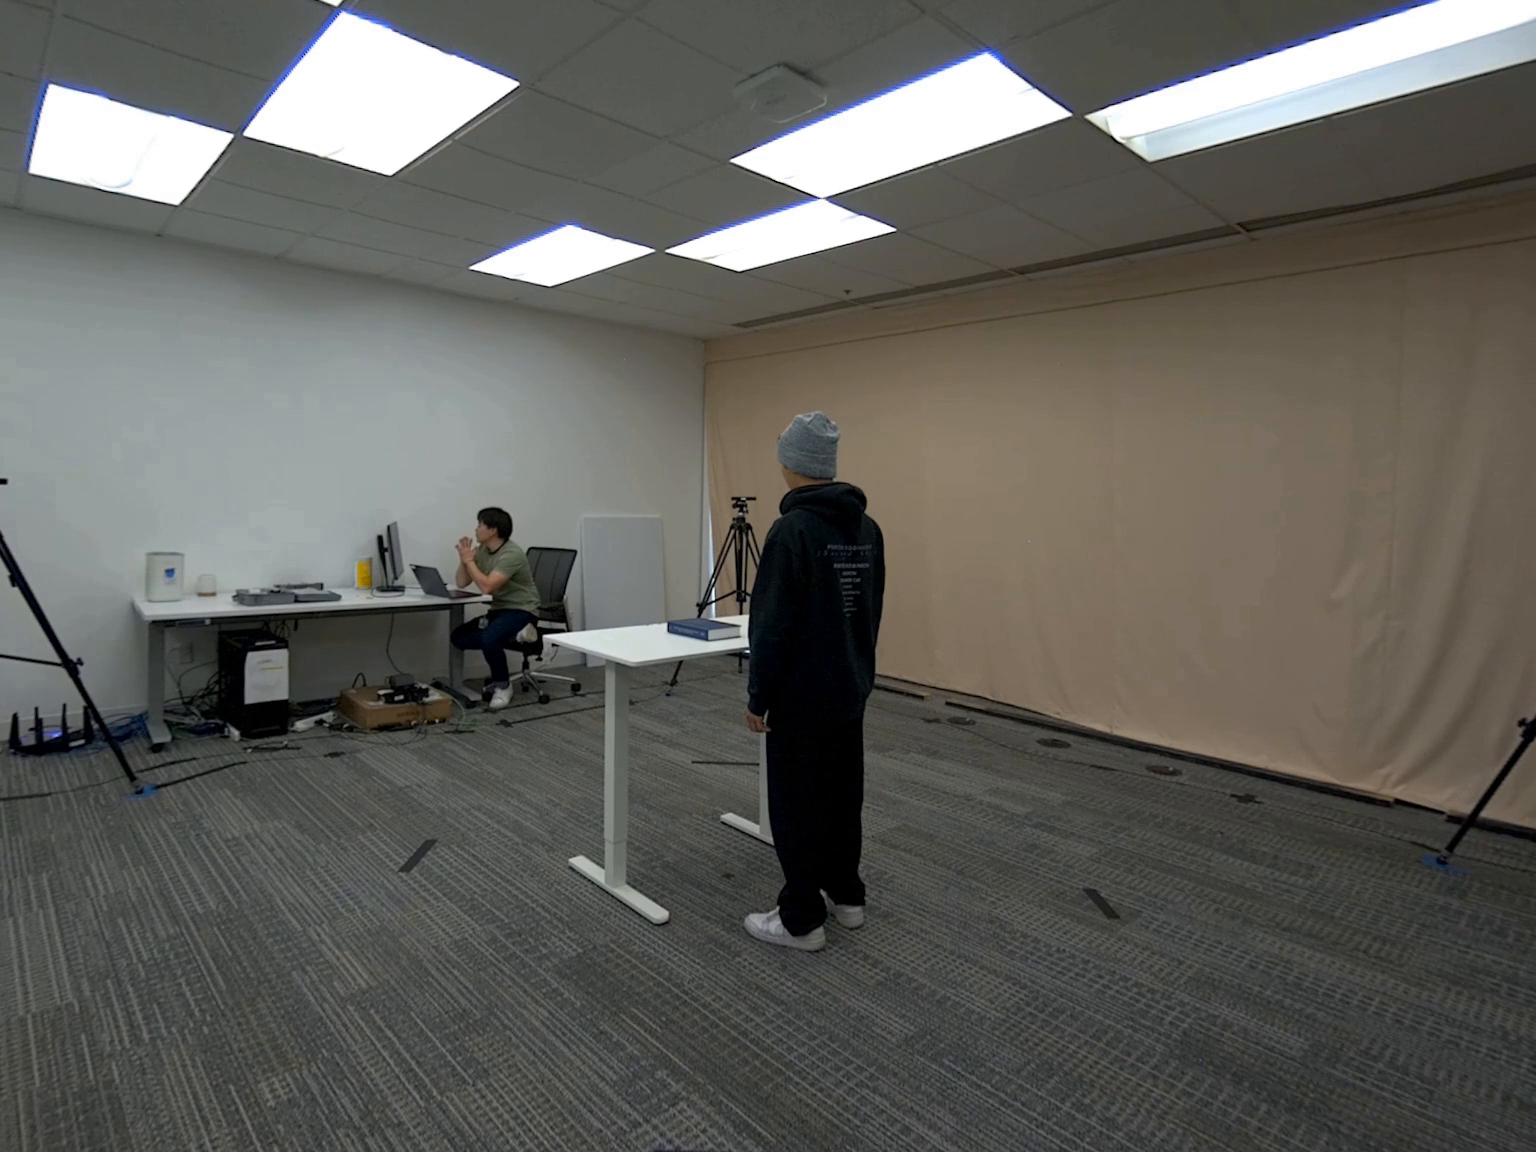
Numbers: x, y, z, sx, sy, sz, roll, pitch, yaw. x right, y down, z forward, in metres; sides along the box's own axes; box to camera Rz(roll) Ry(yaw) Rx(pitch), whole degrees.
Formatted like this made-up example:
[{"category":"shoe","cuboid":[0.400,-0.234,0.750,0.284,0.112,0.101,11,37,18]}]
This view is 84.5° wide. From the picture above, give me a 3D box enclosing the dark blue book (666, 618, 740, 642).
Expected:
[{"category":"dark blue book","cuboid":[-0.253,0.201,3.135,0.160,0.045,0.251,-4,7,-42]}]
